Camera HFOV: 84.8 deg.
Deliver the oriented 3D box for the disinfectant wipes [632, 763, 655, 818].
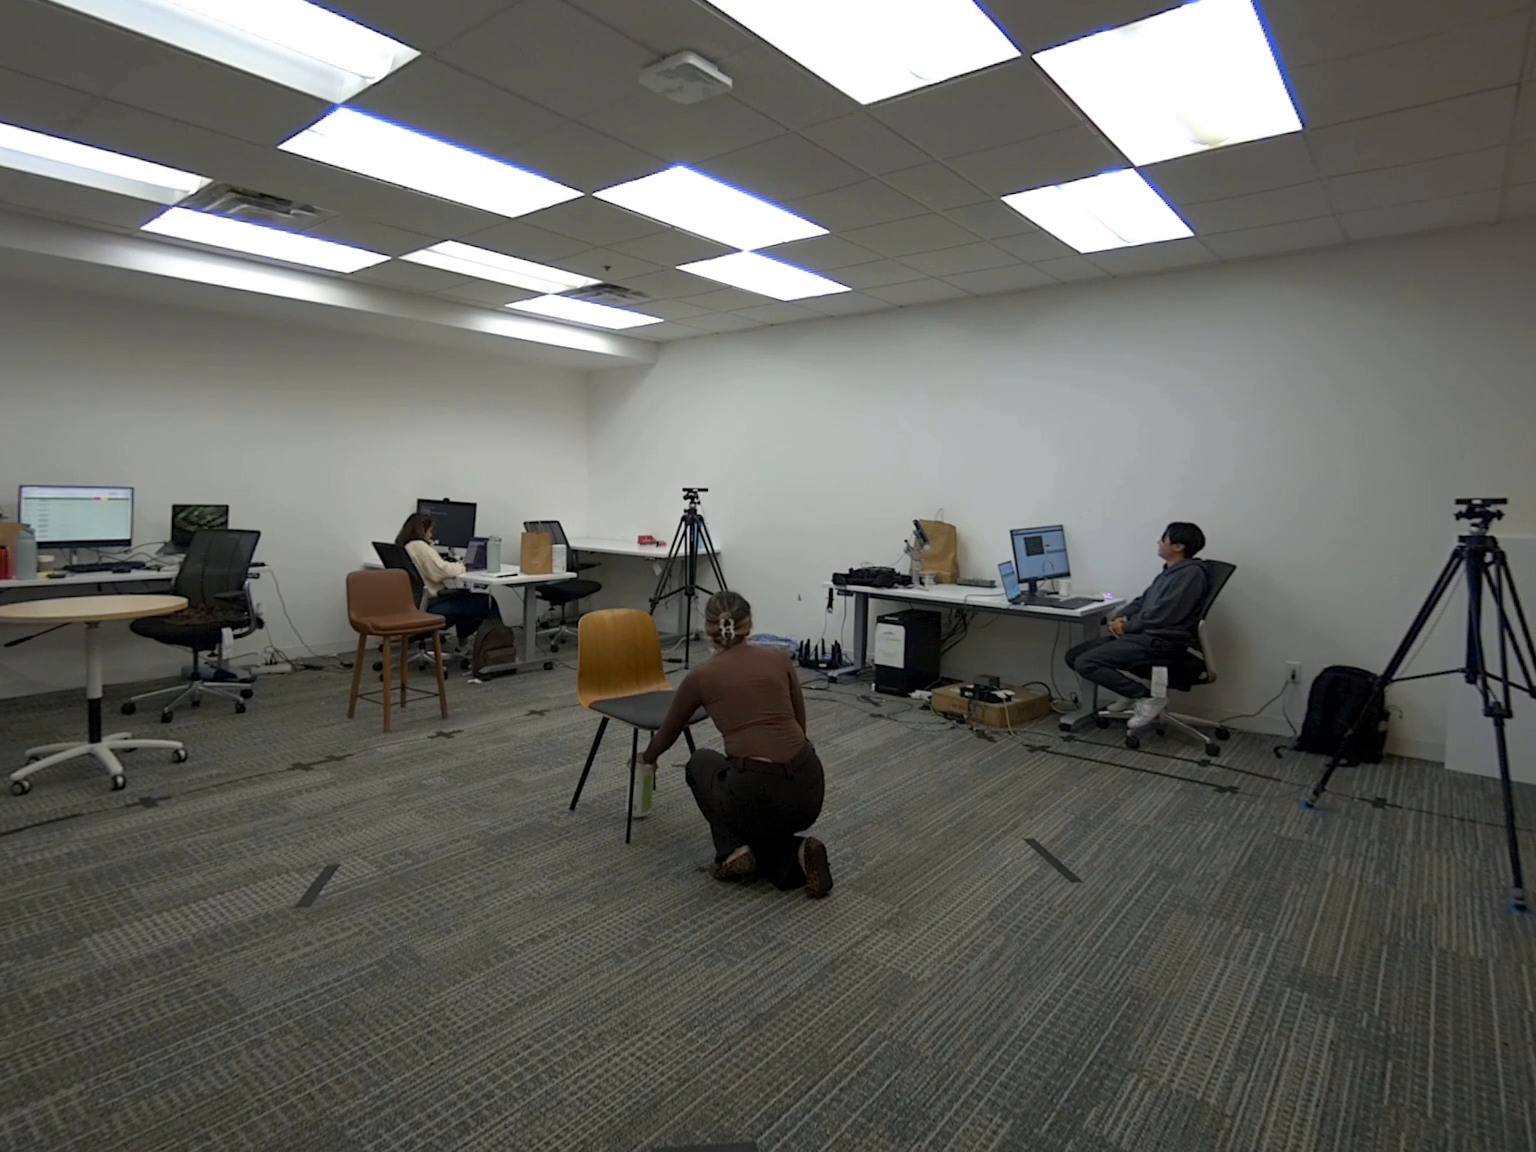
[{"bbox_3d":[-0.550,0.898,3.579,0.117,0.215,0.119,4,11,-3],"label":"disinfectant wipes"}]
